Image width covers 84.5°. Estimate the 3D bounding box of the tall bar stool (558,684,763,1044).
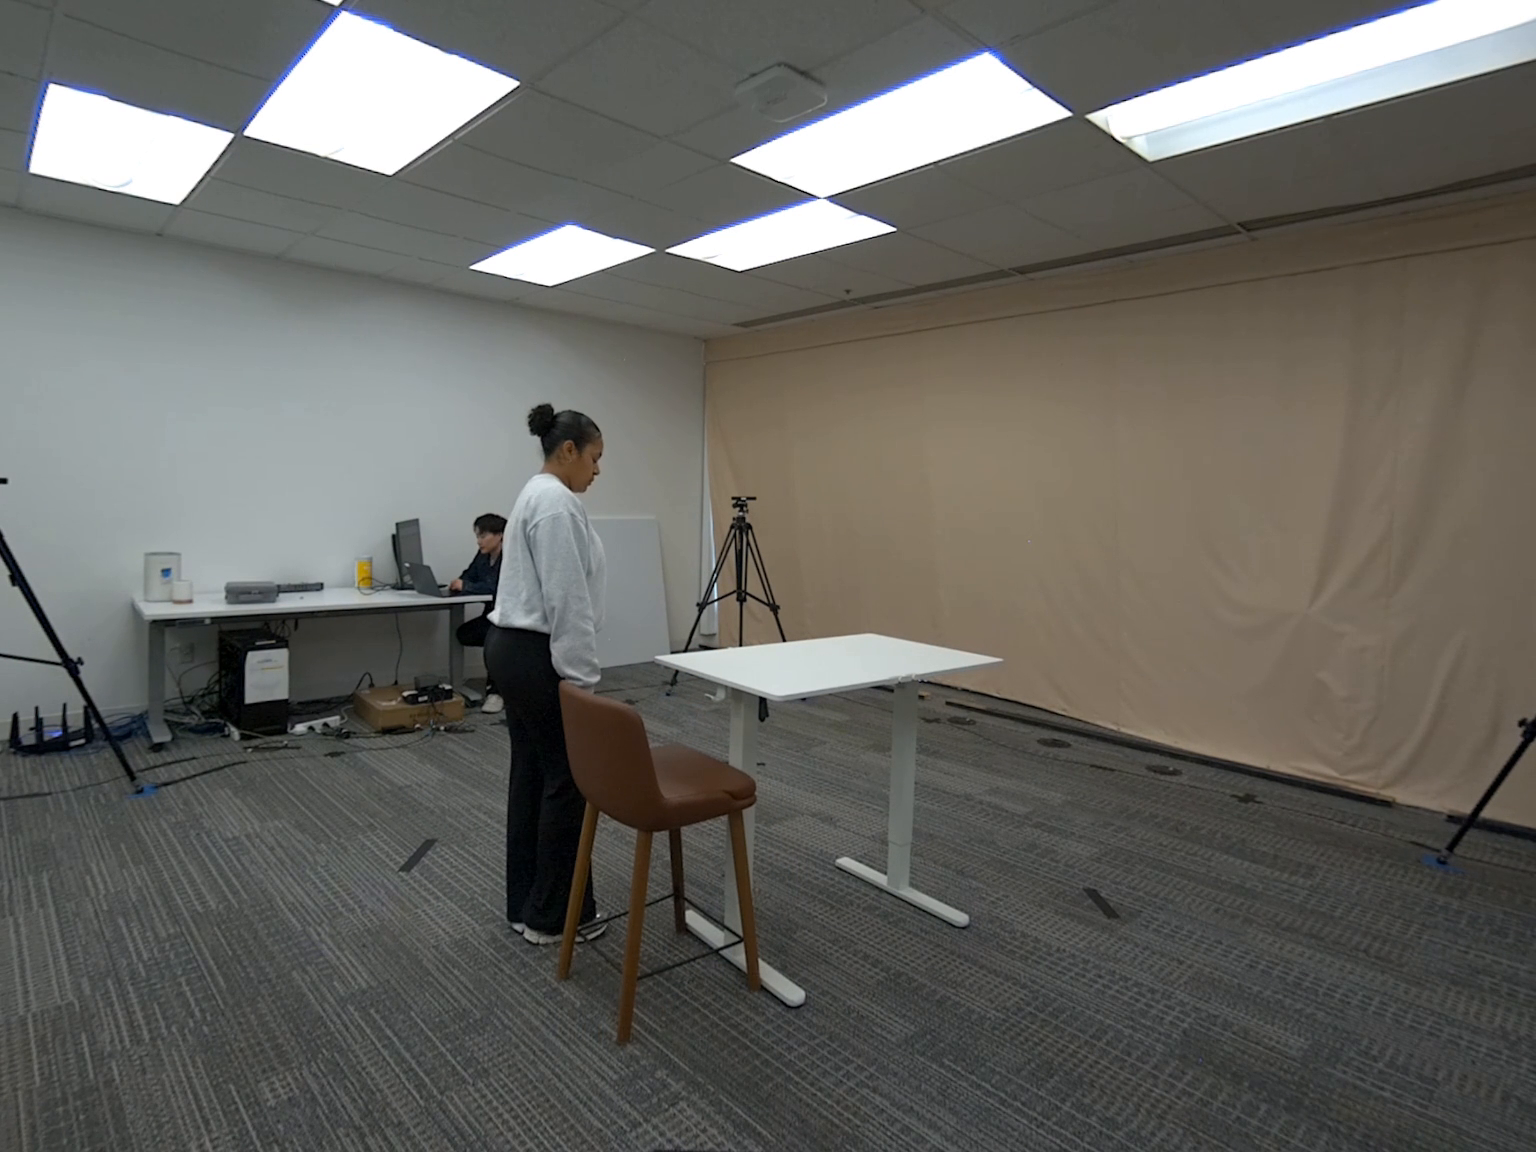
[{"bbox_3d":[-0.321,0.733,2.384,0.458,0.887,0.468,-4,5,-38],"label":"tall bar stool"}]
